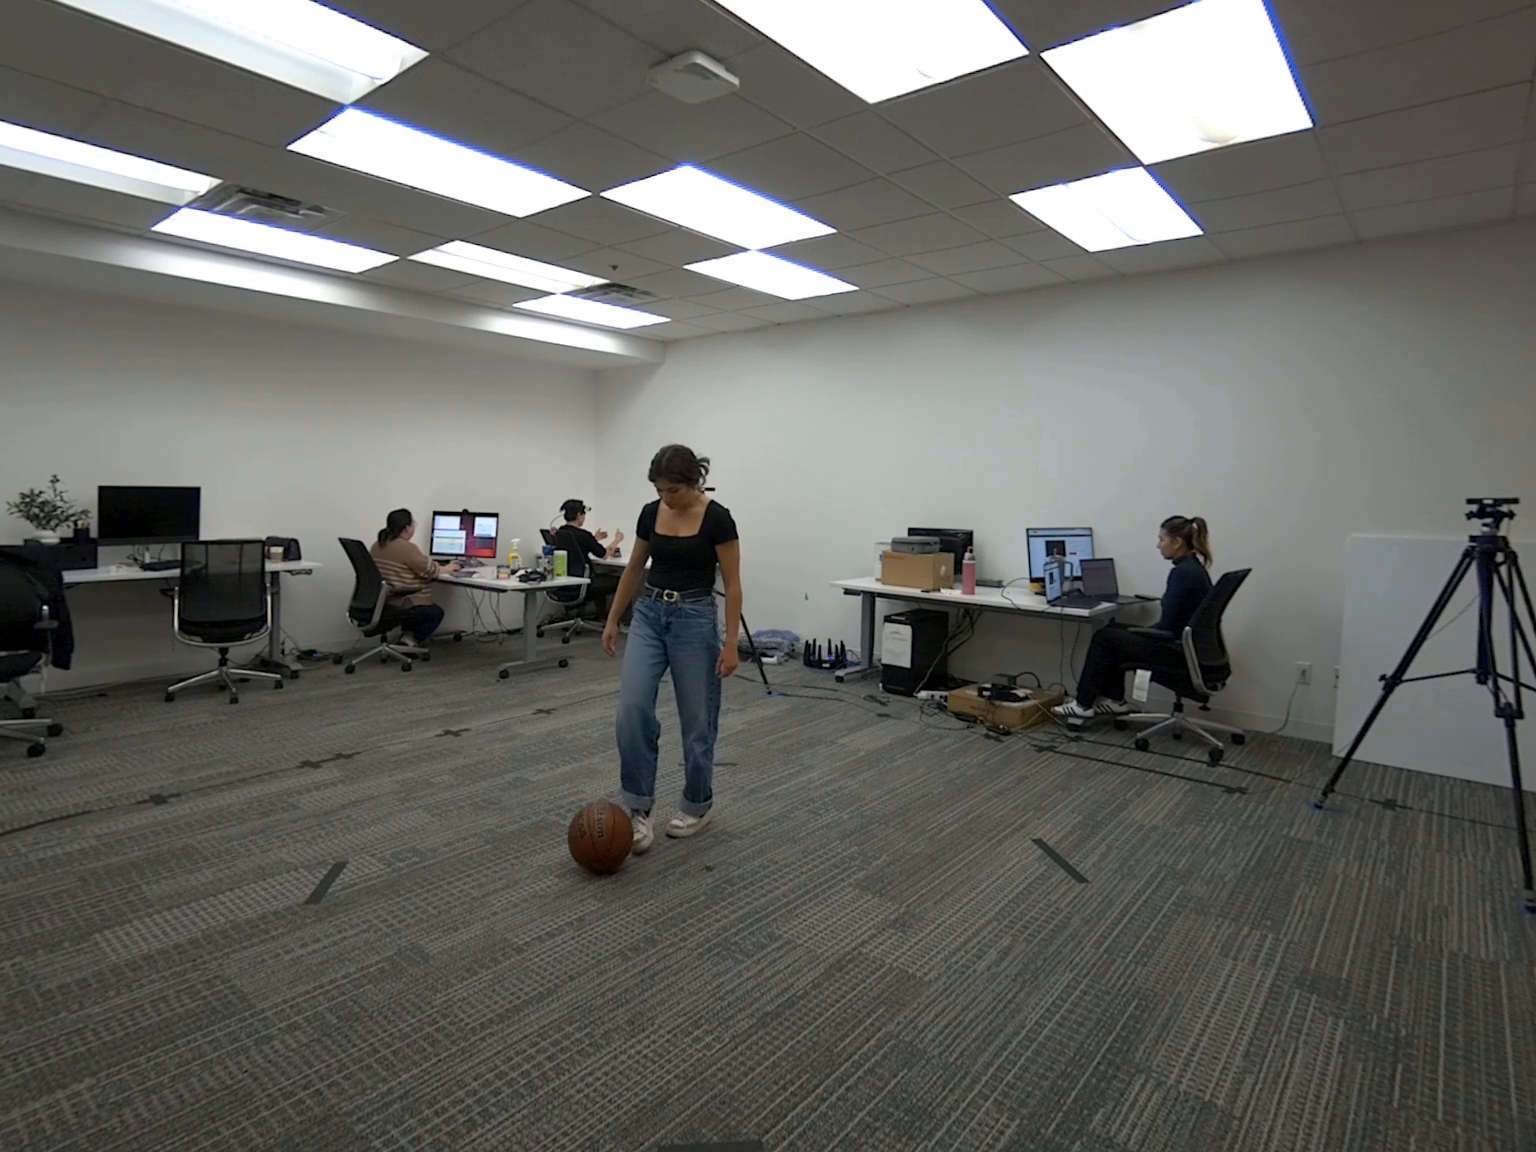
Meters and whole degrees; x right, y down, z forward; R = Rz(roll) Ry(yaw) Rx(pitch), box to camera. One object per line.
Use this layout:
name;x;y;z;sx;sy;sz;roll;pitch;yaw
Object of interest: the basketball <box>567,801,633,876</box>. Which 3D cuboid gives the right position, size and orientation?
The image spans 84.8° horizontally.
basketball;-0.614;0.942;3.085;0.235;0.235;0.237;1;4;-2
